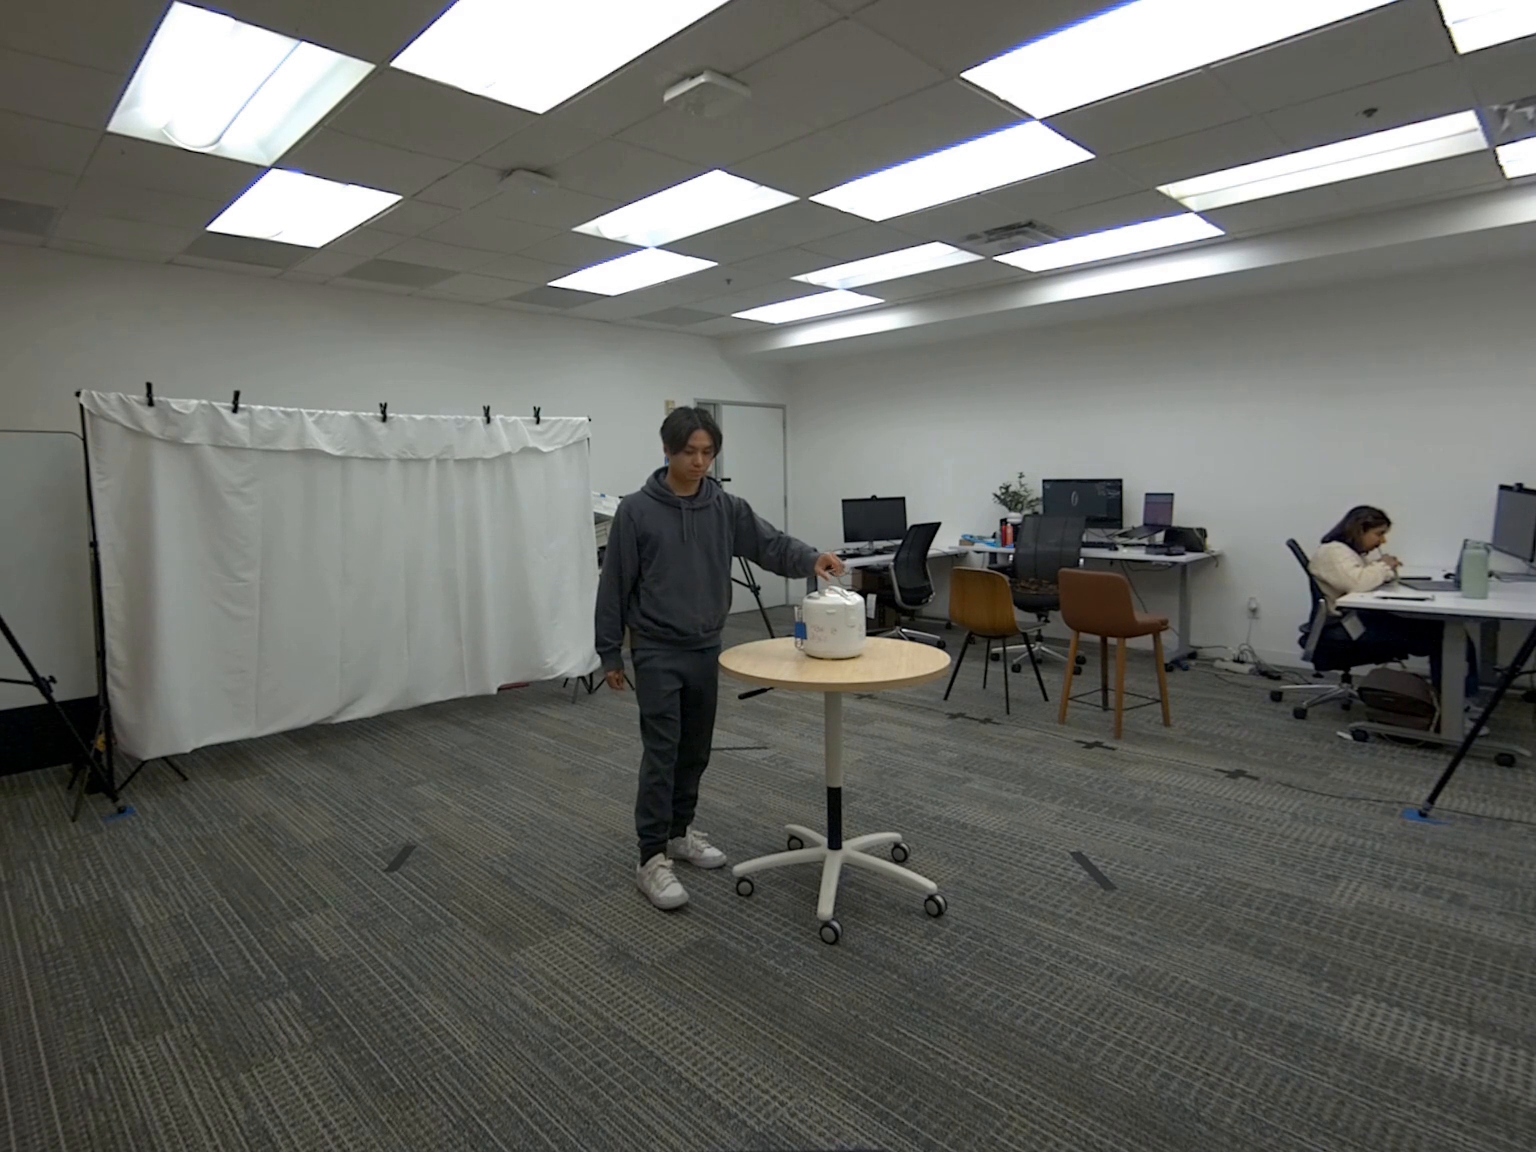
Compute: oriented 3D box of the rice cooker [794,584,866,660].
[{"bbox_3d":[0.225,0.150,2.871,0.213,0.232,0.226,-5,7,-27],"label":"rice cooker"}]
